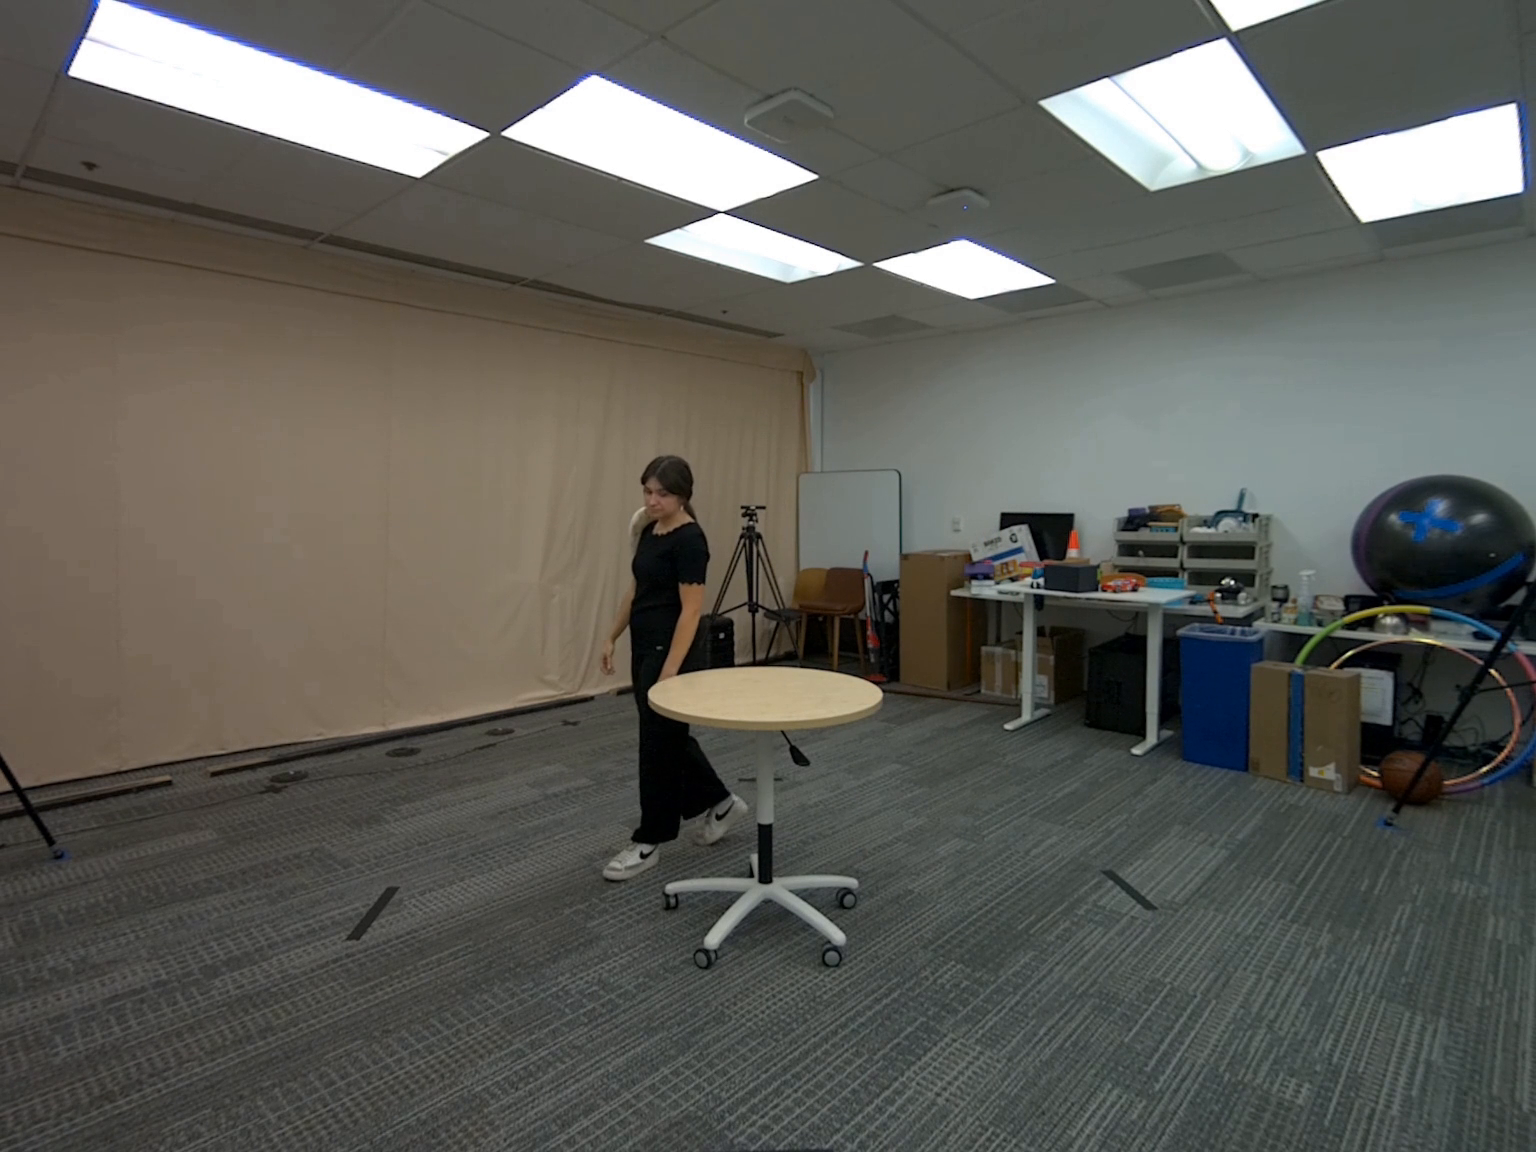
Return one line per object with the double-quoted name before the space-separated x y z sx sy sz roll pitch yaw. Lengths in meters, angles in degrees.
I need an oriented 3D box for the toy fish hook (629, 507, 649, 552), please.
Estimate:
"toy fish hook" -0.460 -0.038 3.434 0.219 0.502 0.050 -6 16 -29
